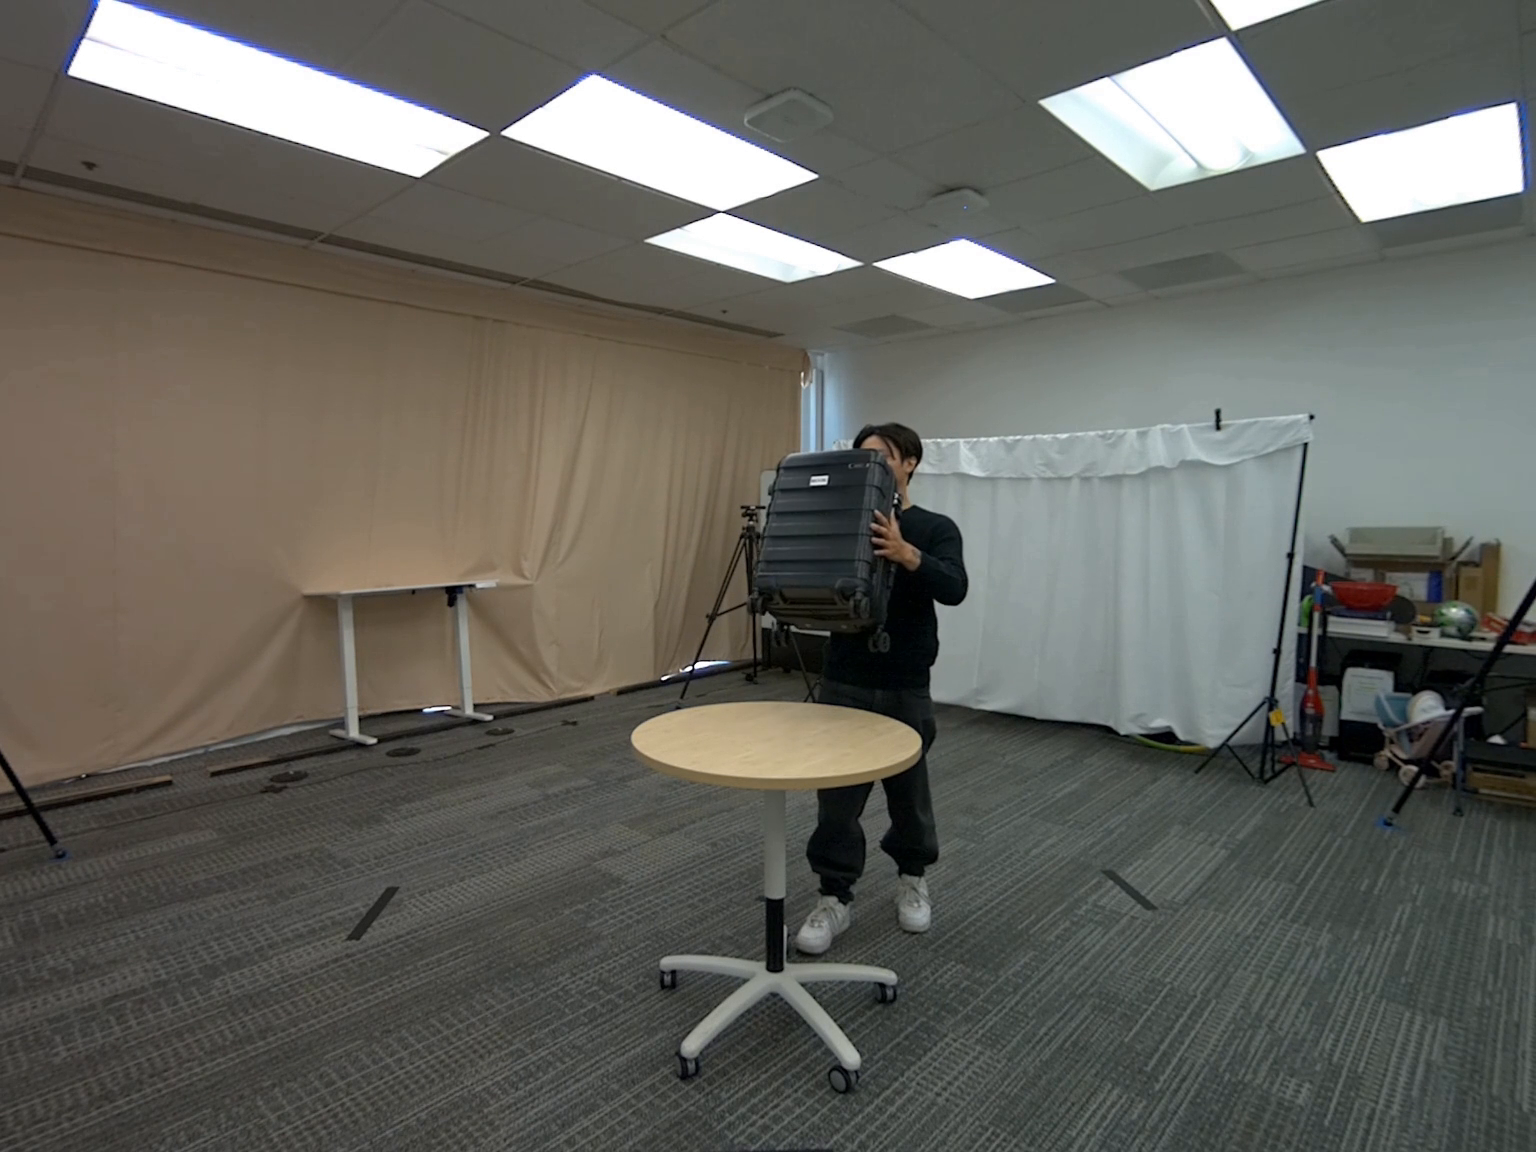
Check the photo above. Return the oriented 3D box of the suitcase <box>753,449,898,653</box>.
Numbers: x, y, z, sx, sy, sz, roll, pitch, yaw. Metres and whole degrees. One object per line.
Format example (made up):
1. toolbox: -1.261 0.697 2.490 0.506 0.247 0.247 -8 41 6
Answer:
1. suitcase: 0.188 -0.095 2.455 0.385 0.554 0.240 0 -29 26
